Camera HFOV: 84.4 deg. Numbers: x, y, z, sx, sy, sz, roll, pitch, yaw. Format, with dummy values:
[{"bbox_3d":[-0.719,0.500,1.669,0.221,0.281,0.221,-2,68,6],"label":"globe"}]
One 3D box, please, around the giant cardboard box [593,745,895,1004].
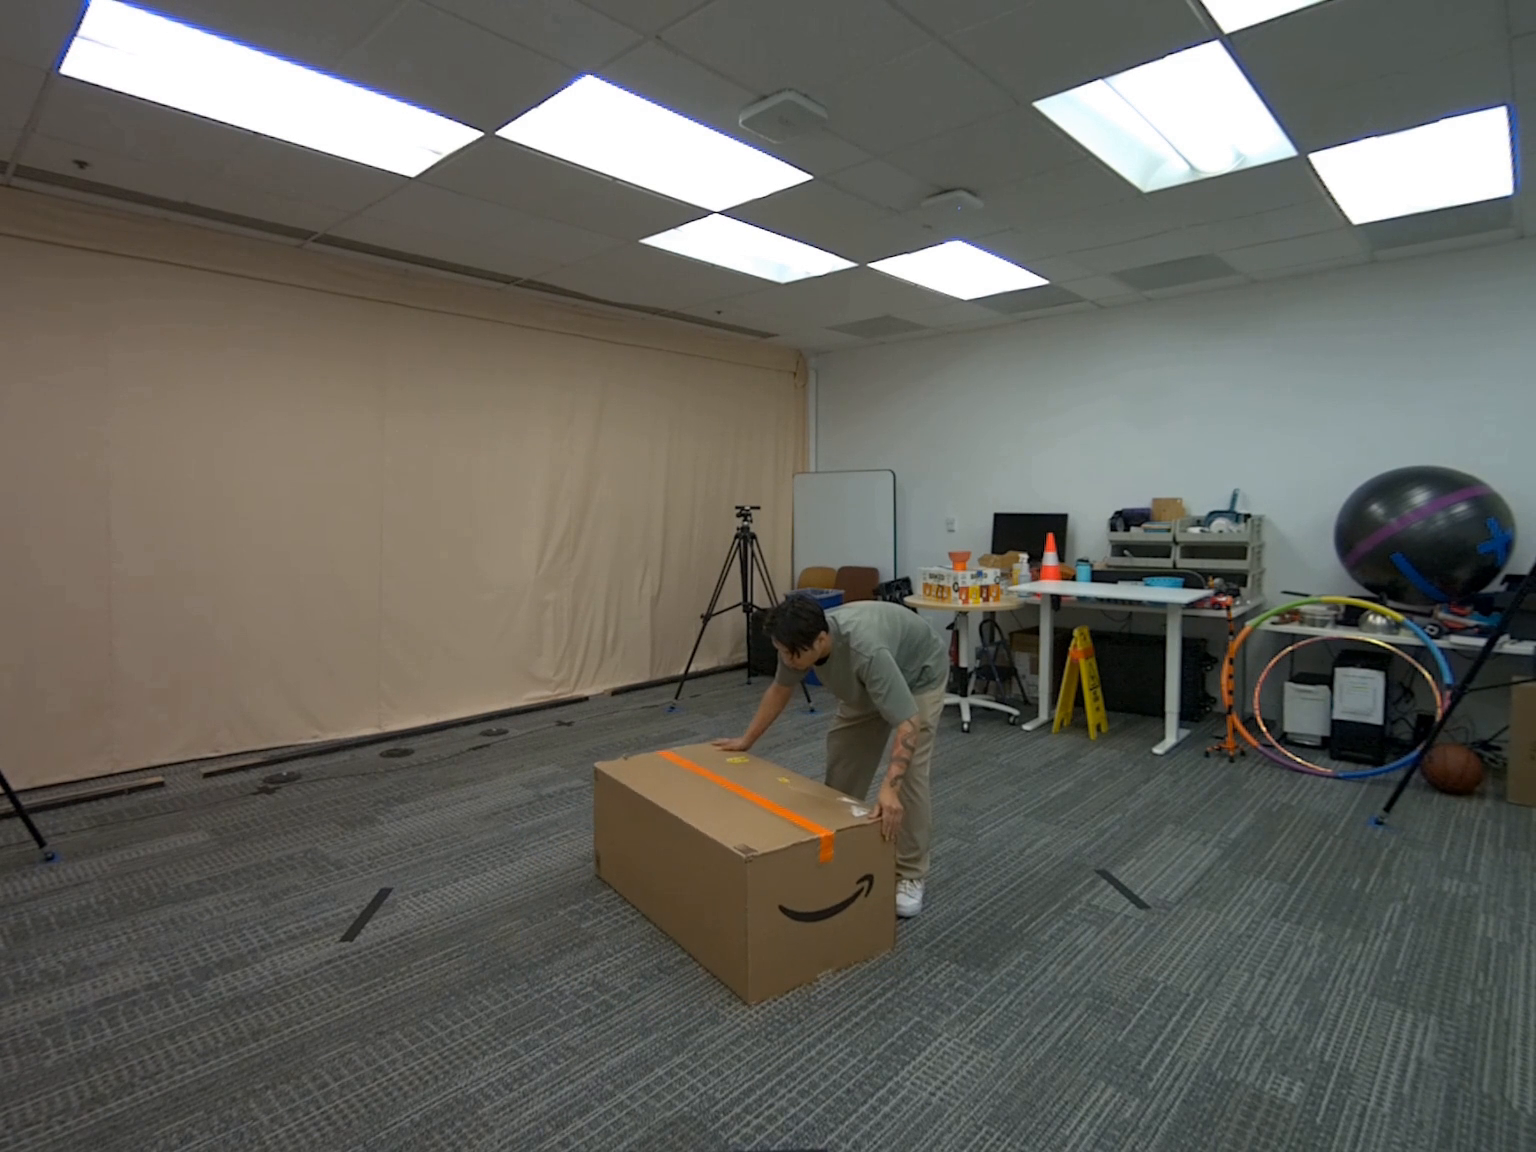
[{"bbox_3d":[-0.127,0.935,2.909,0.561,0.425,1.058,-3,6,-35],"label":"giant cardboard box"}]
